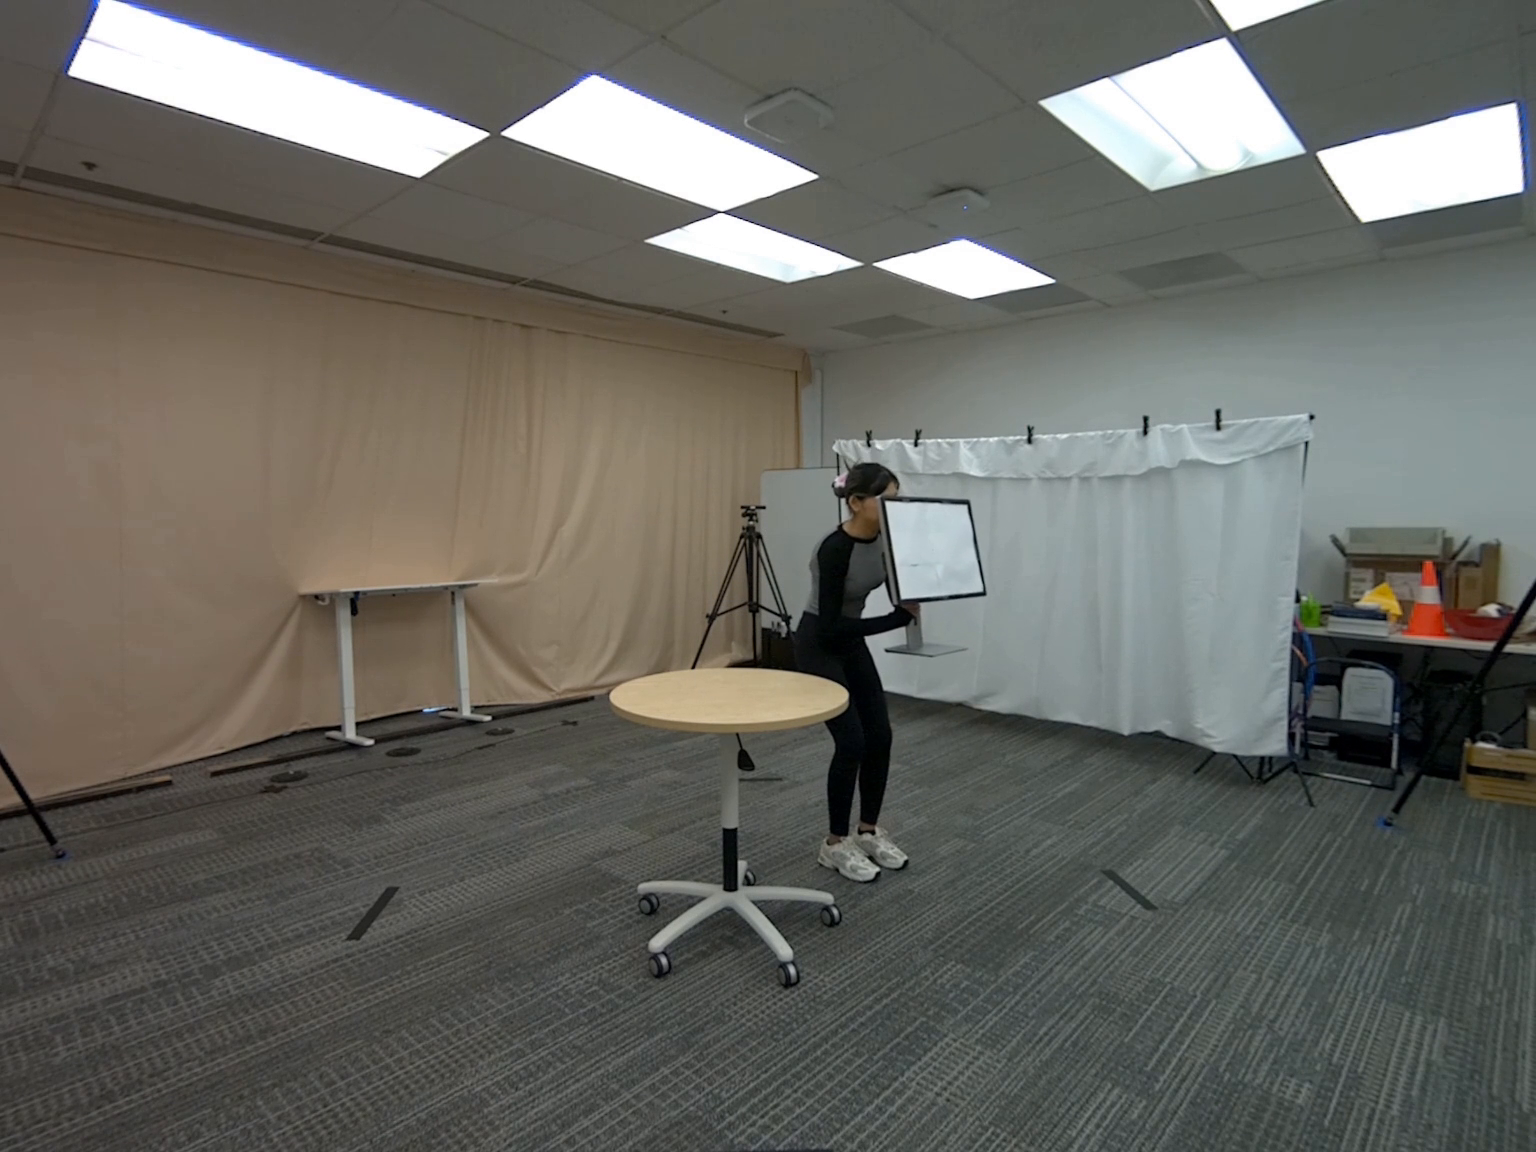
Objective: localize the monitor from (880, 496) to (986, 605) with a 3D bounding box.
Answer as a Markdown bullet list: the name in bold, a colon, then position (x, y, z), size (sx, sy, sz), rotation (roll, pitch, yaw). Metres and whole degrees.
- **monitor**: position (0.561, -0.002, 2.971), size (0.193, 0.522, 0.522), rotation (1, 3, 41)
